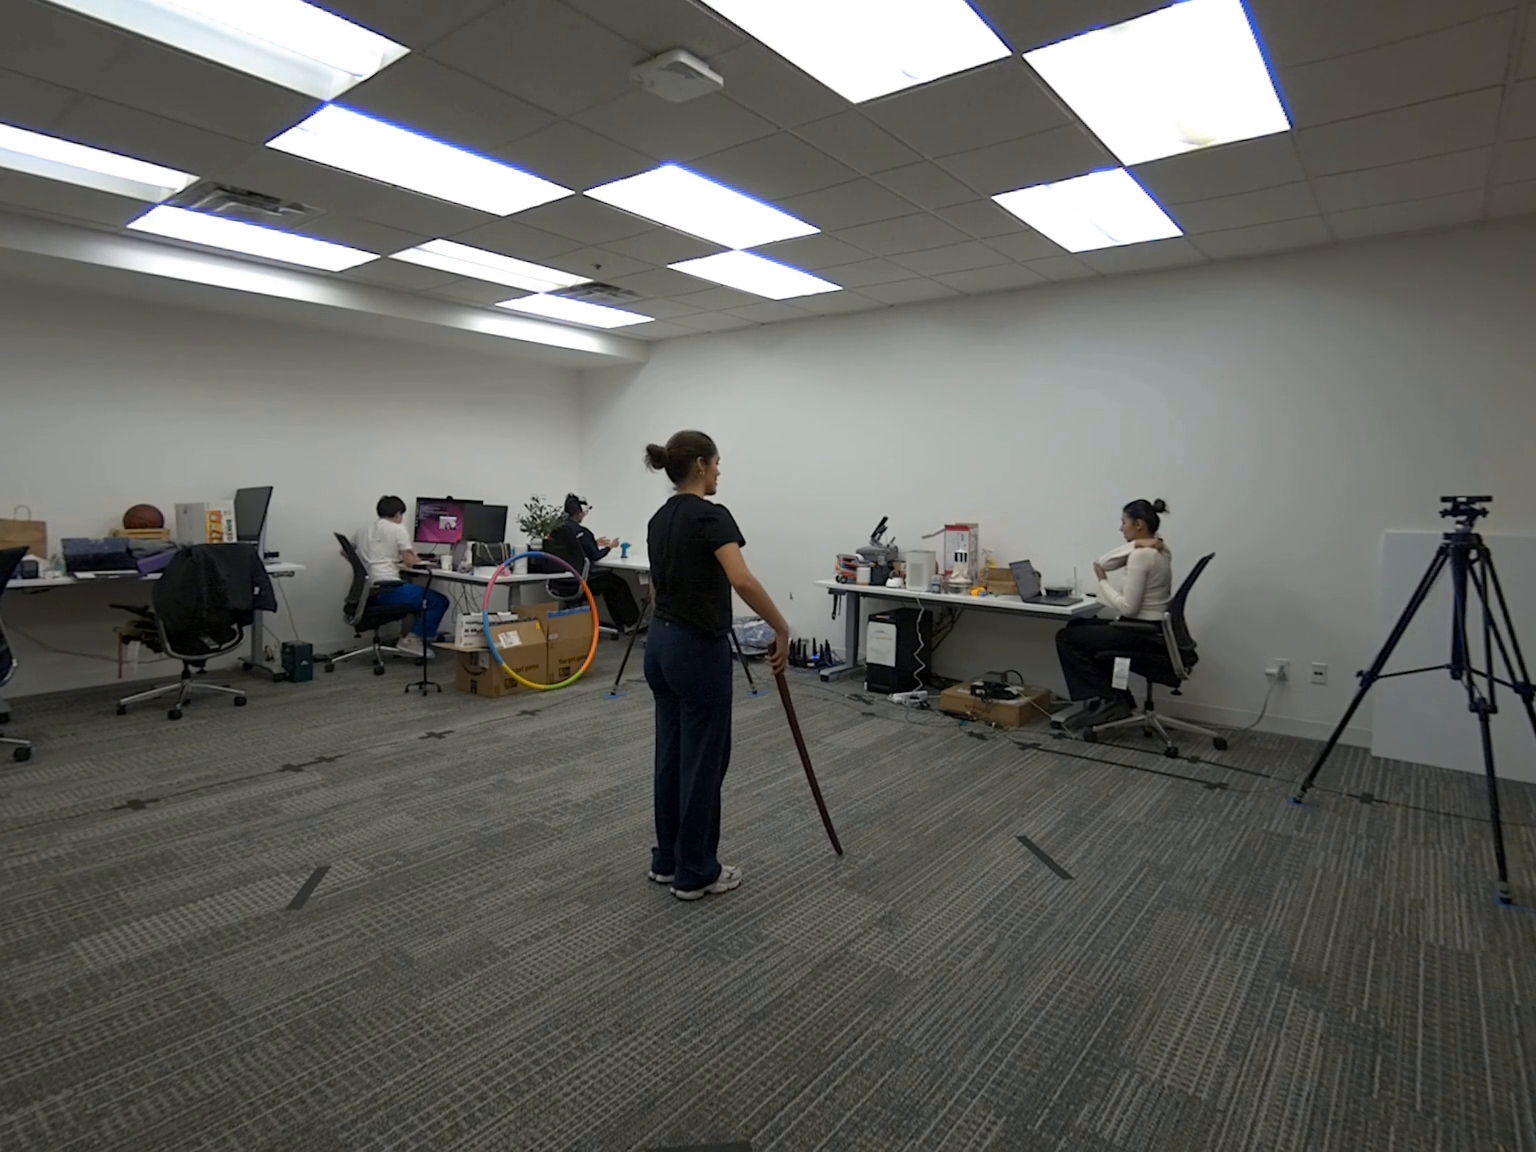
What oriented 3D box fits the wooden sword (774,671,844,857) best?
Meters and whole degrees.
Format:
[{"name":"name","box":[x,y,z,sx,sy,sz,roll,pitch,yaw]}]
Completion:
[{"name":"wooden sword","box":[0.152,0.662,3.040,0.025,0.994,0.051,6,36,39]}]
